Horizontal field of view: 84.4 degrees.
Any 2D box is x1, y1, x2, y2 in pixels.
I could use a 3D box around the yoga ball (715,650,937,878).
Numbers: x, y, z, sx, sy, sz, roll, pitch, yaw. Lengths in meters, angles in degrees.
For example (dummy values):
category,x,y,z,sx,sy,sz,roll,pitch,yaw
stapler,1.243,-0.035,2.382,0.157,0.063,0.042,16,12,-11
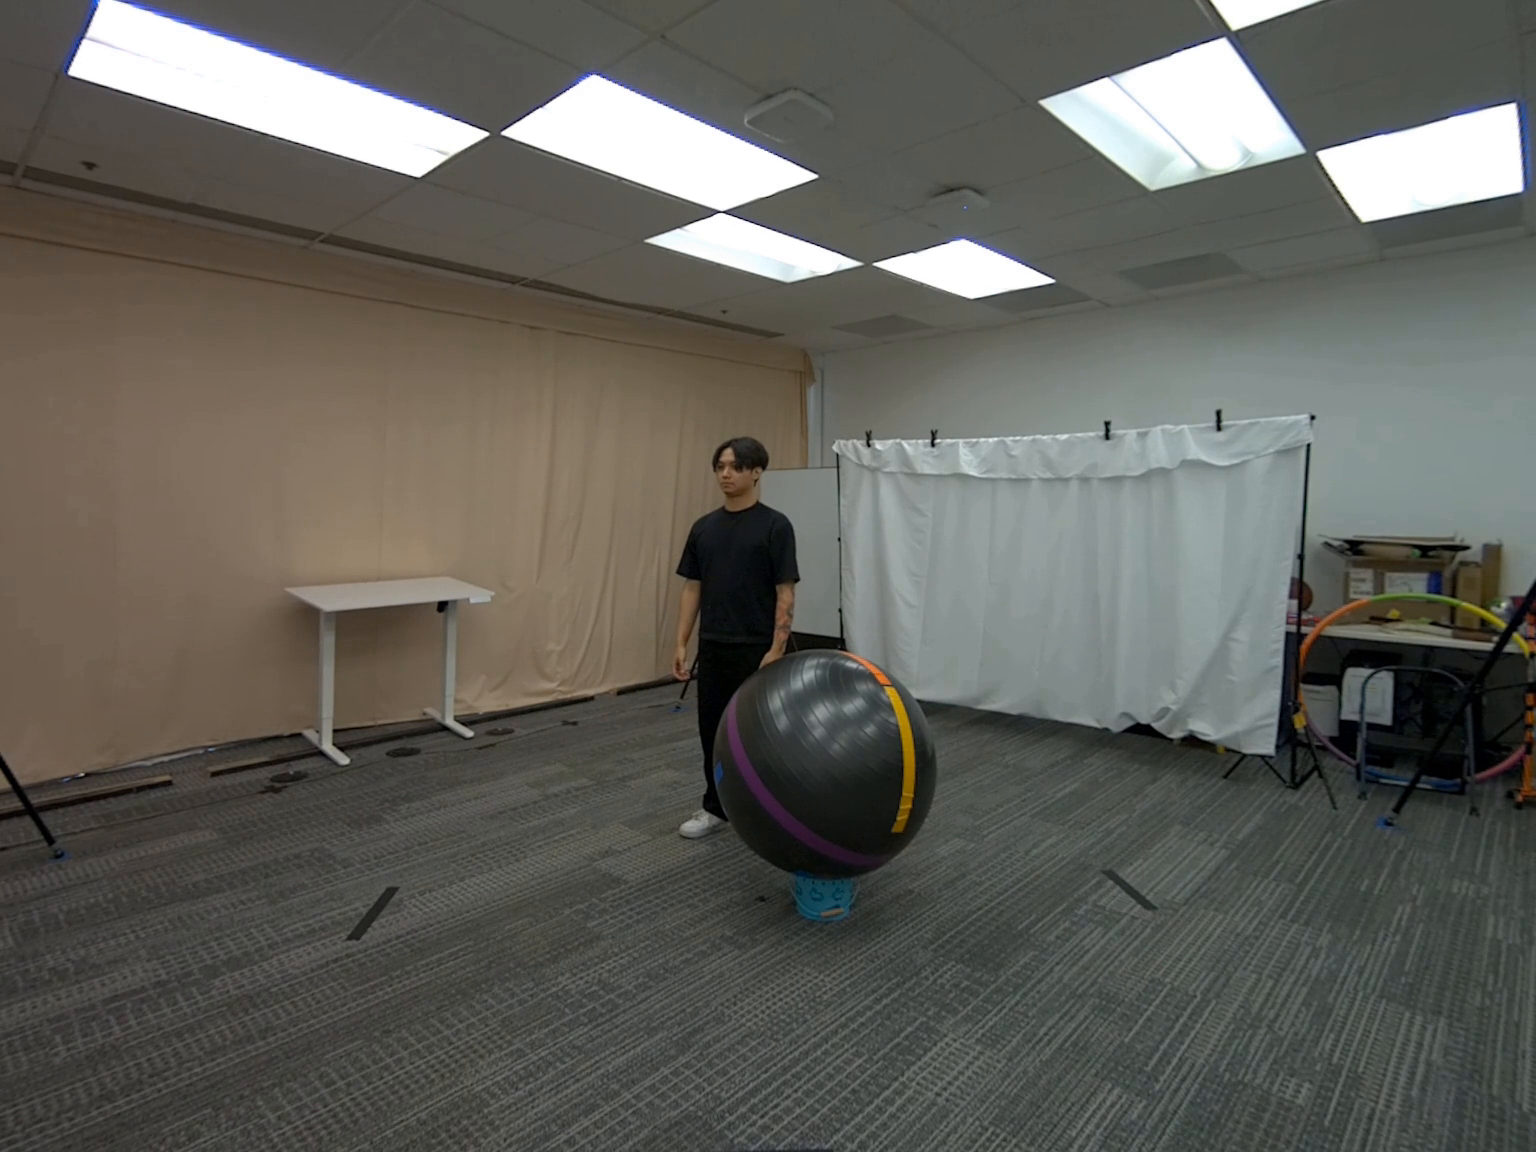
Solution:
category,x,y,z,sx,sy,sz,roll,pitch,yaw
yoga ball,0.199,0.636,2.894,0.757,0.756,0.760,0,4,-2
